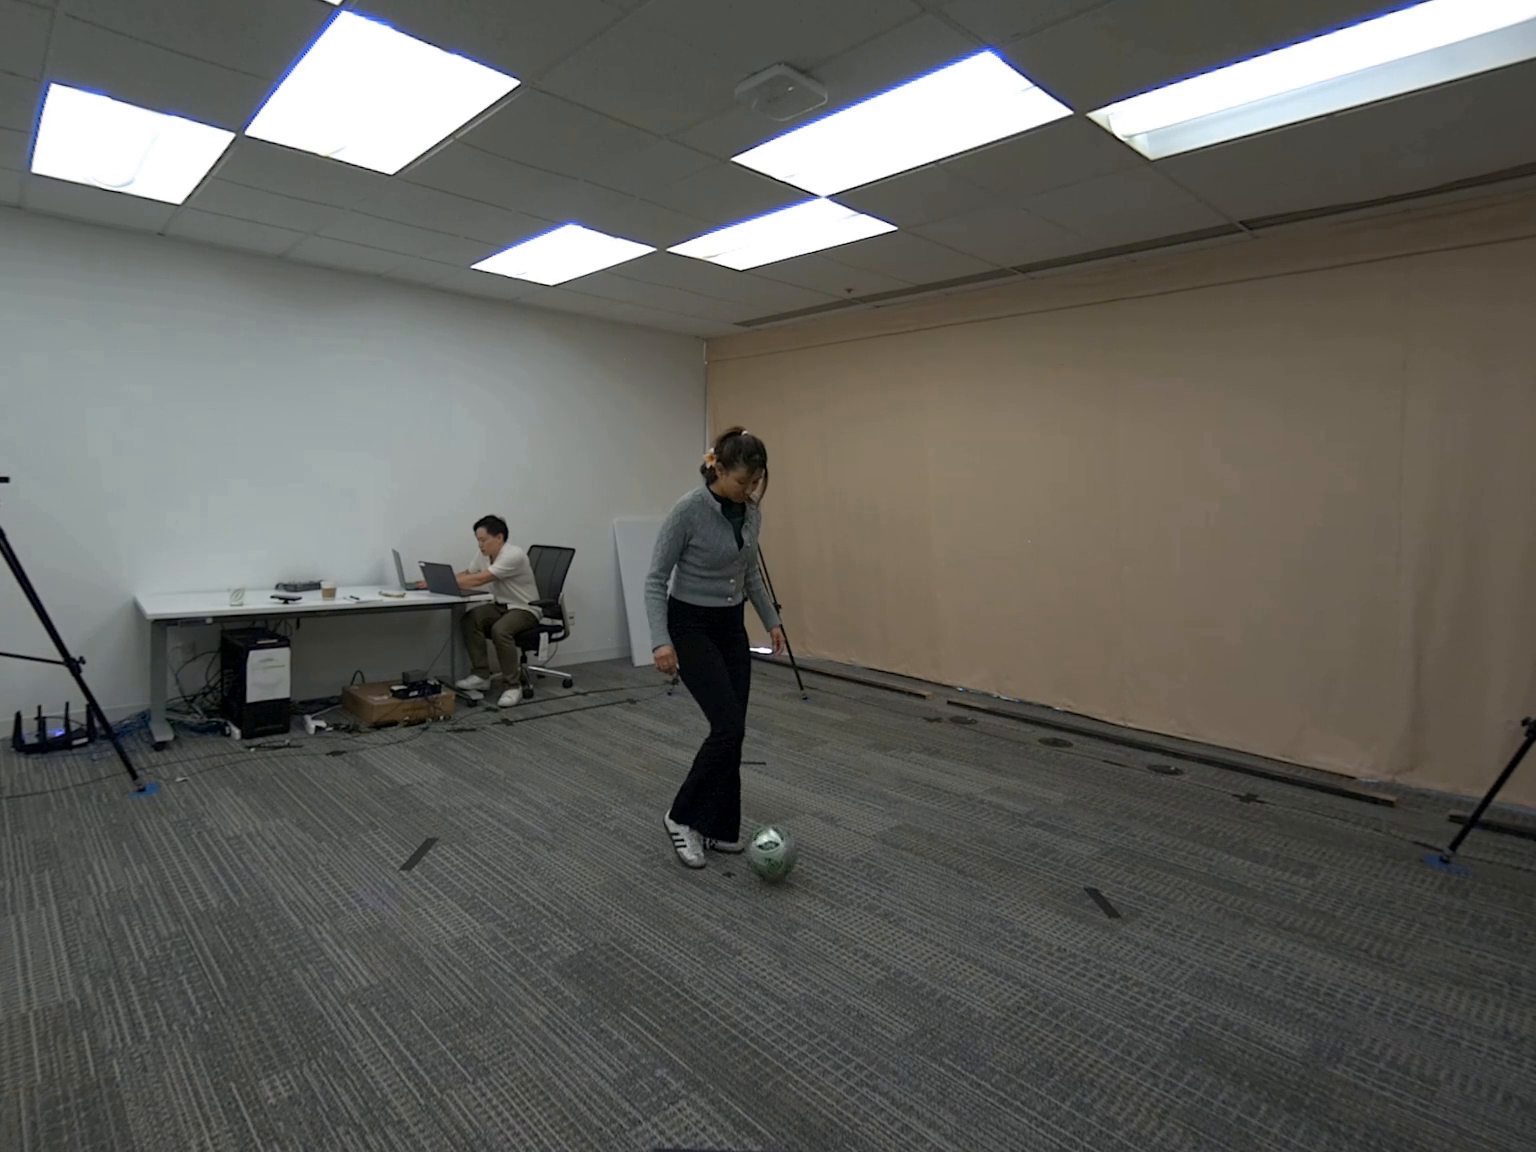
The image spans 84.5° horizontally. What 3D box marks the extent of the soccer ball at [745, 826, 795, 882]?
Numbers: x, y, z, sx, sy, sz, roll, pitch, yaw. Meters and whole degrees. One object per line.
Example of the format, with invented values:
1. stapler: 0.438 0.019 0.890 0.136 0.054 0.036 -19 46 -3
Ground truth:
1. soccer ball: 0.001 1.000 3.025 0.187 0.187 0.188 1 4 -1
